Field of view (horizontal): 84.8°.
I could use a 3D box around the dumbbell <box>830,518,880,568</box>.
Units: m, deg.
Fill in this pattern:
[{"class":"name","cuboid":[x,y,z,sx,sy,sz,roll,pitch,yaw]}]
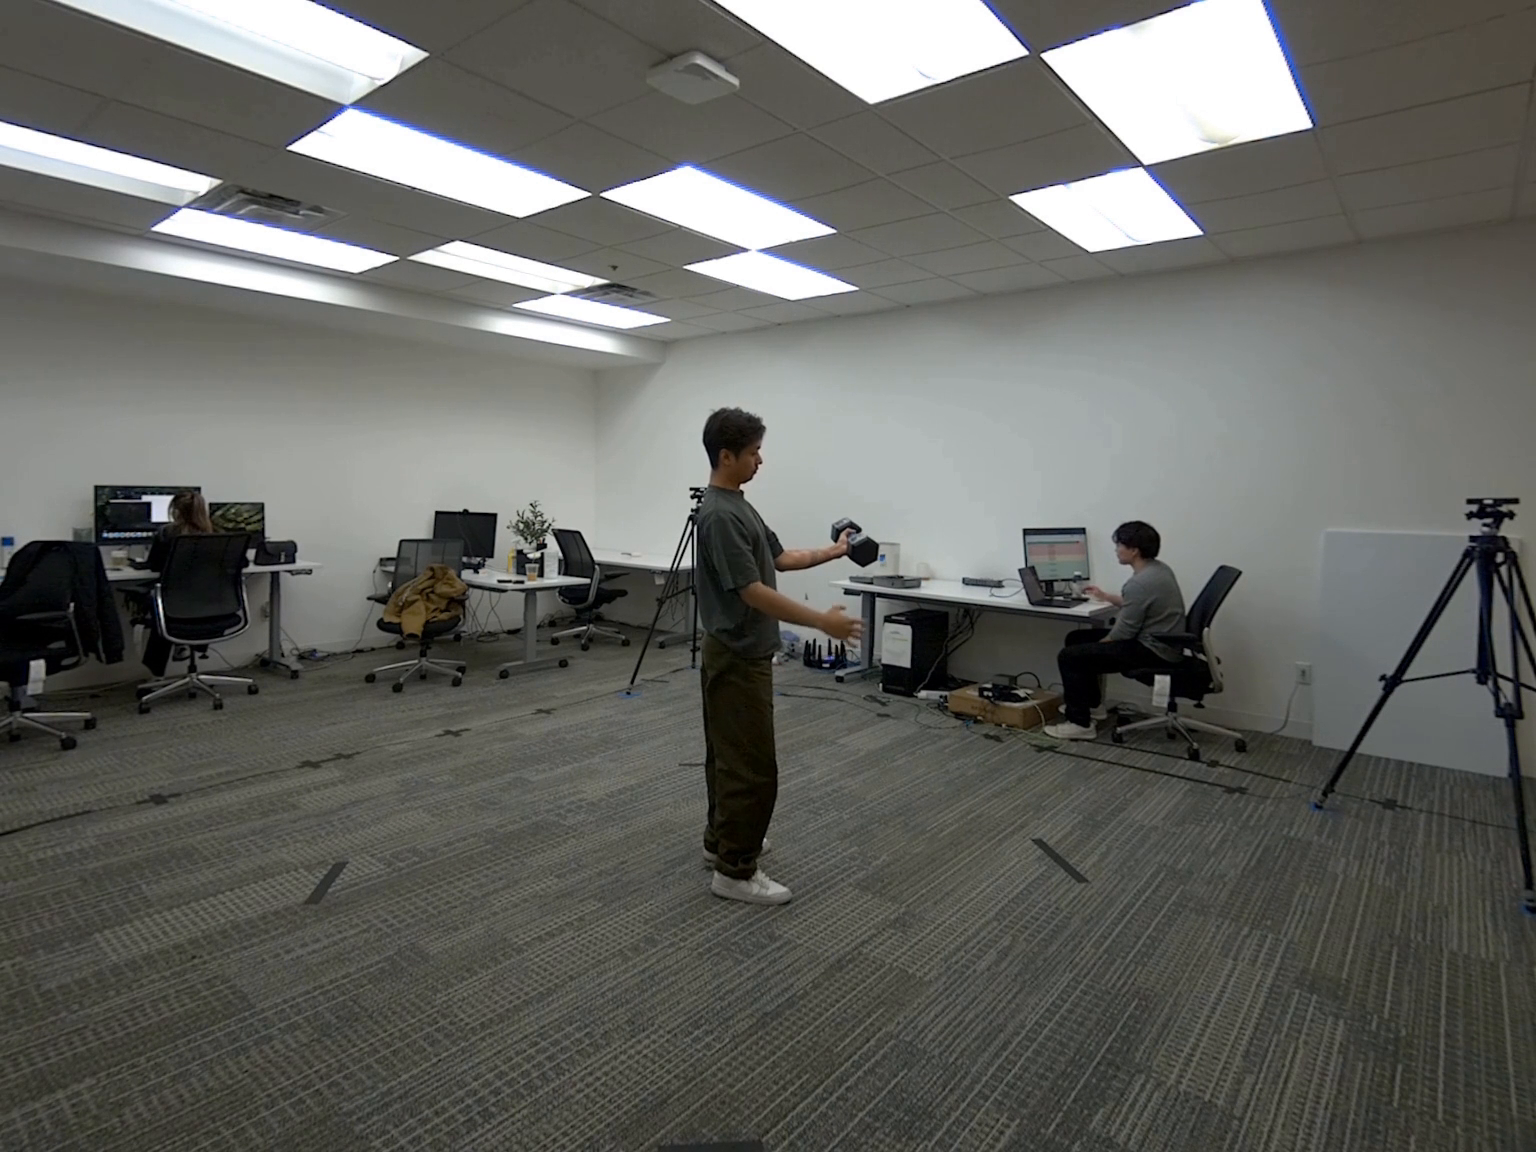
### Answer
[{"class":"dumbbell","cuboid":[0.322,-0.141,3.300,0.107,0.121,0.301,4,18,-13]}]
